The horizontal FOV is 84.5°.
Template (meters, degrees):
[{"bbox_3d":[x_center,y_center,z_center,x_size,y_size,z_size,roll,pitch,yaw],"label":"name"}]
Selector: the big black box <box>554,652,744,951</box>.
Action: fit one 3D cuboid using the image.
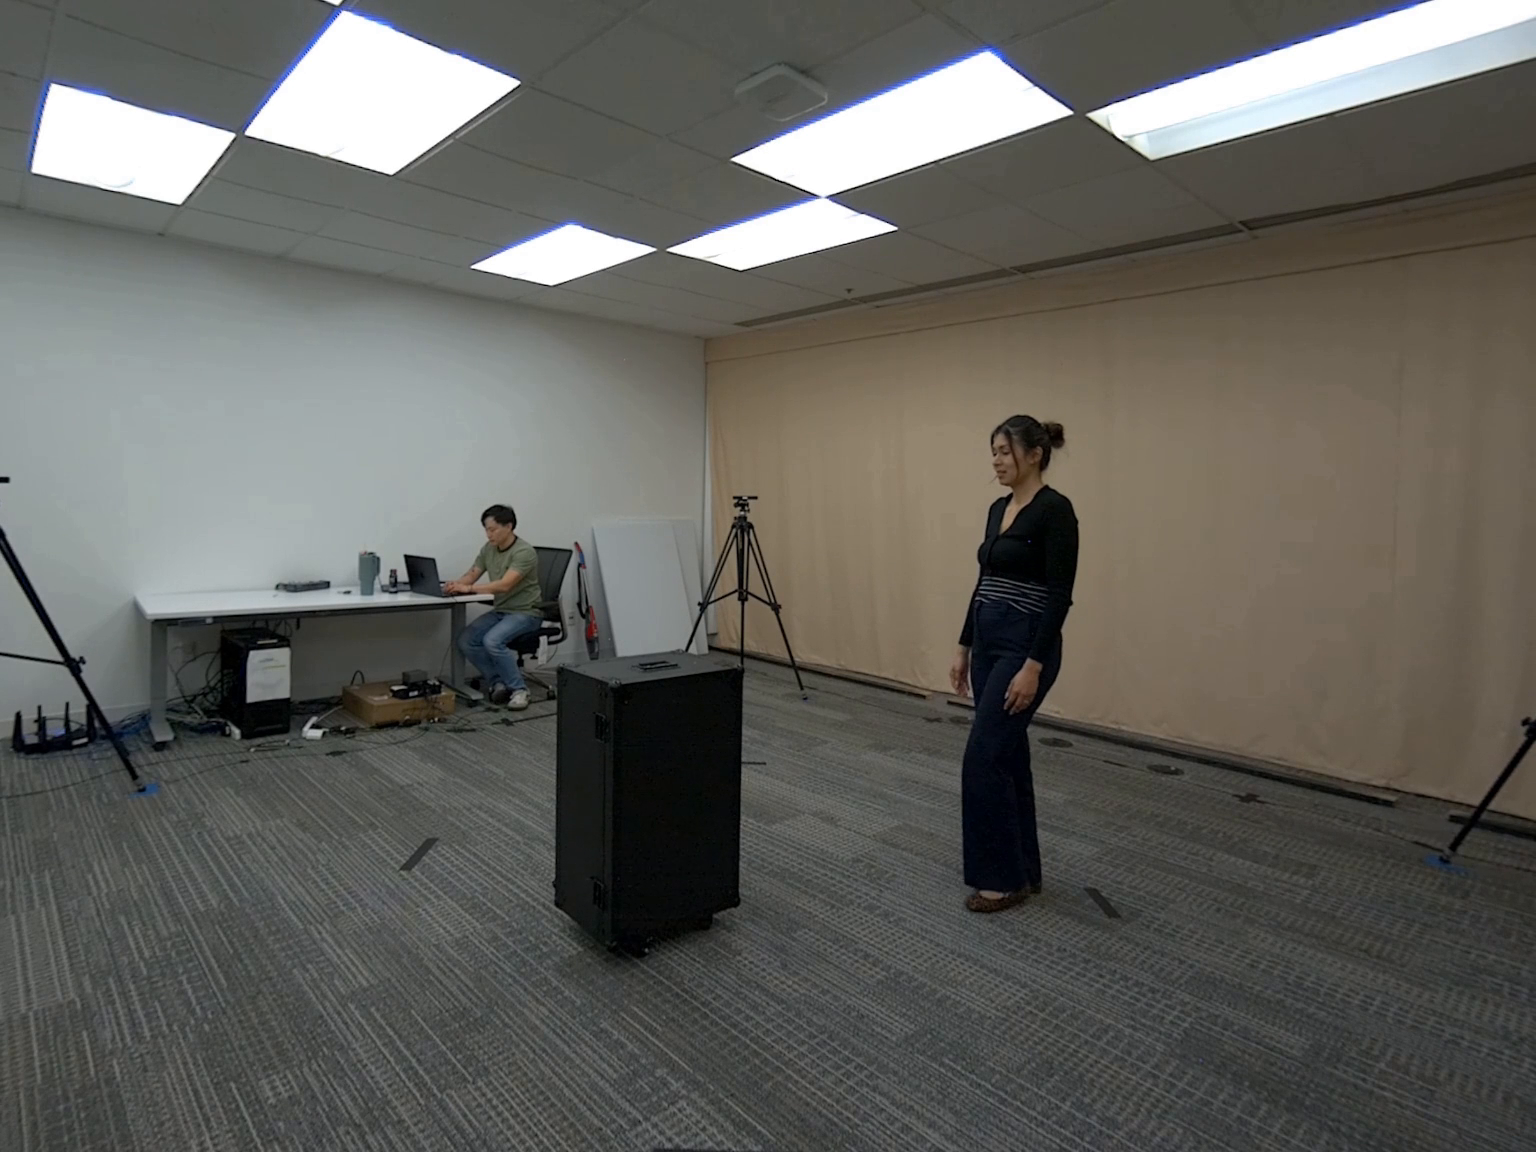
[{"bbox_3d":[-0.398,0.713,2.694,0.509,0.860,0.406,-2,3,-40],"label":"big black box"}]
